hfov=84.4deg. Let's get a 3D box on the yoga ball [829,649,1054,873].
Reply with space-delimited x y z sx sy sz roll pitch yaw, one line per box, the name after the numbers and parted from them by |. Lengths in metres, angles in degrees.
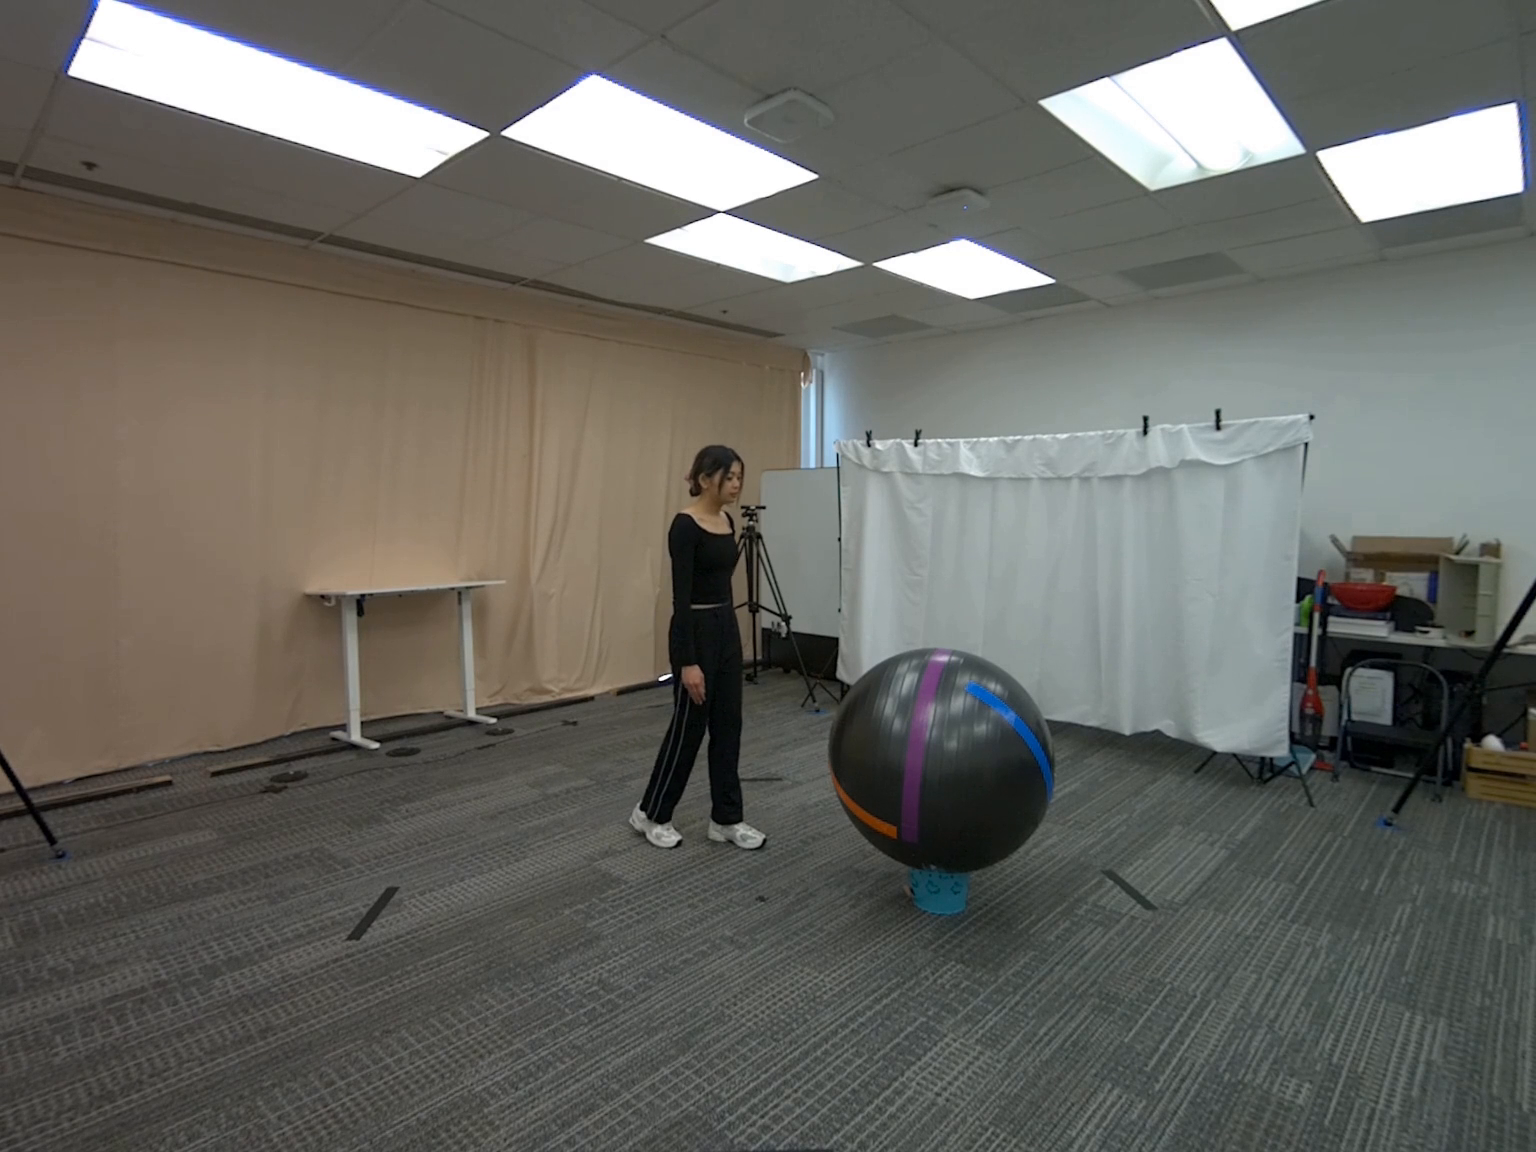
0.601 0.637 2.932 0.757 0.756 0.760 0 4 -2 | yoga ball
